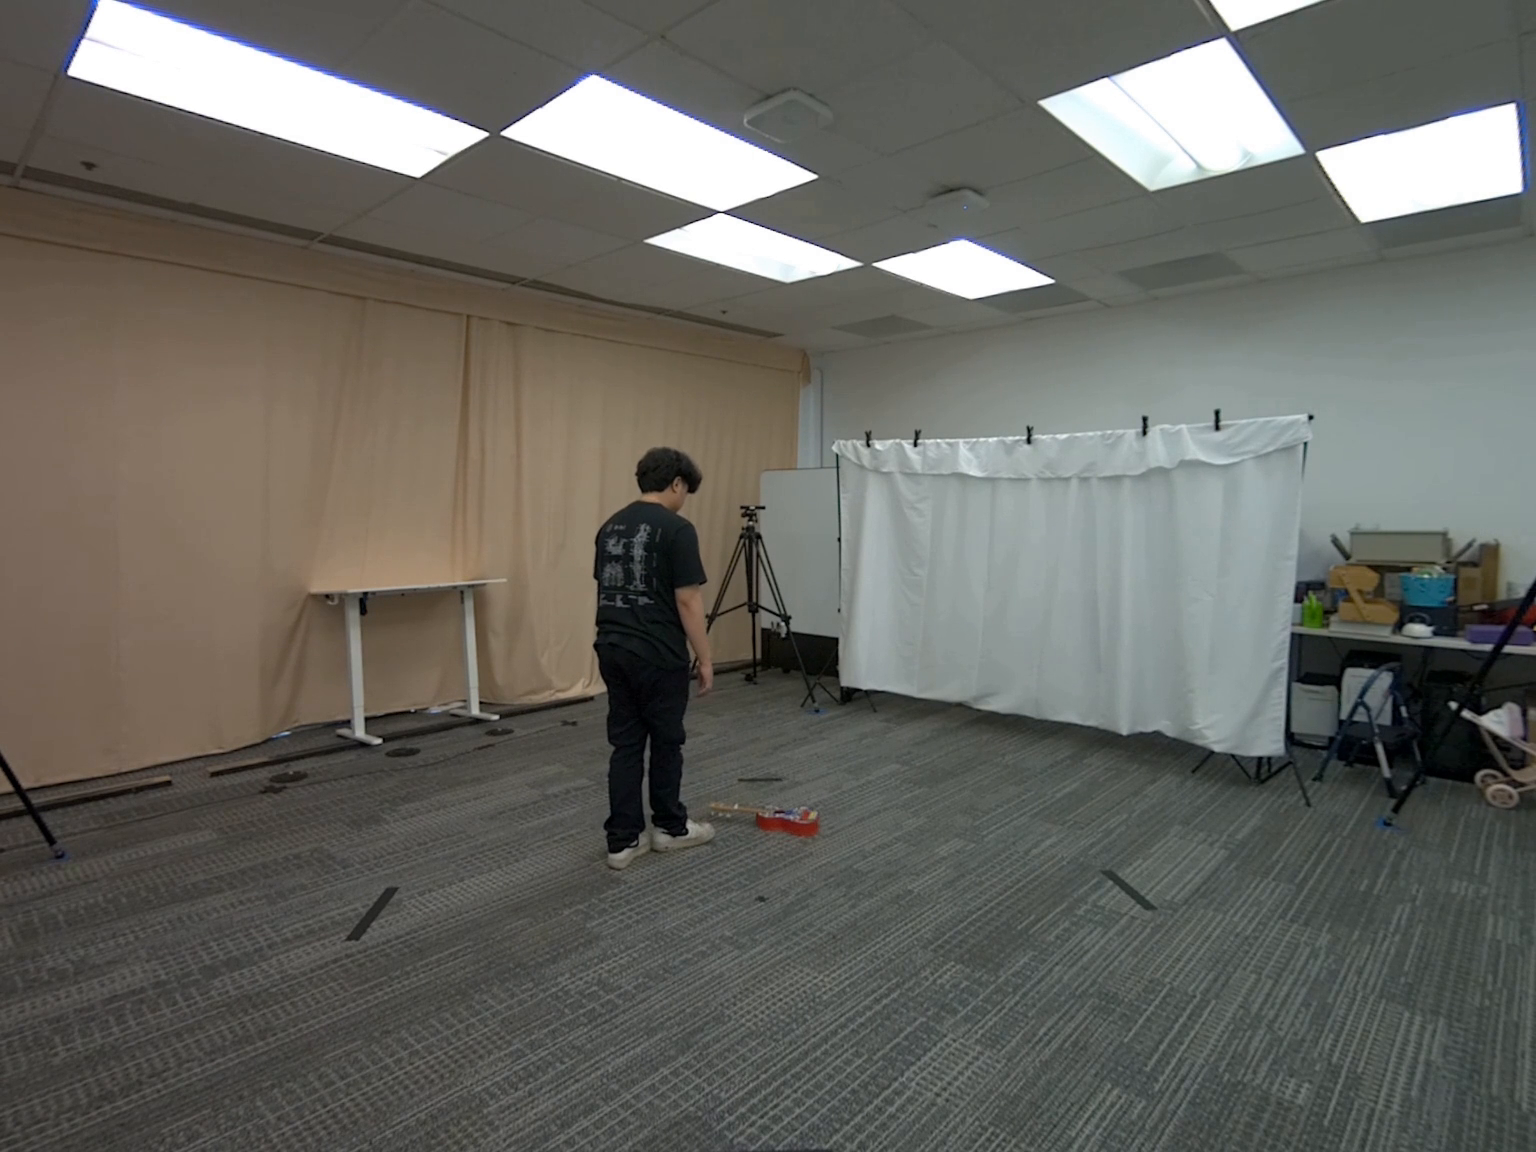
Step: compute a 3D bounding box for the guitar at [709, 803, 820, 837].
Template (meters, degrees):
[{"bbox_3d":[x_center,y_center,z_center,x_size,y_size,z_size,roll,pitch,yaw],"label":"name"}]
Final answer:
[{"bbox_3d":[-0.012,1.051,3.713,0.510,0.070,0.189,2,5,22],"label":"guitar"}]
